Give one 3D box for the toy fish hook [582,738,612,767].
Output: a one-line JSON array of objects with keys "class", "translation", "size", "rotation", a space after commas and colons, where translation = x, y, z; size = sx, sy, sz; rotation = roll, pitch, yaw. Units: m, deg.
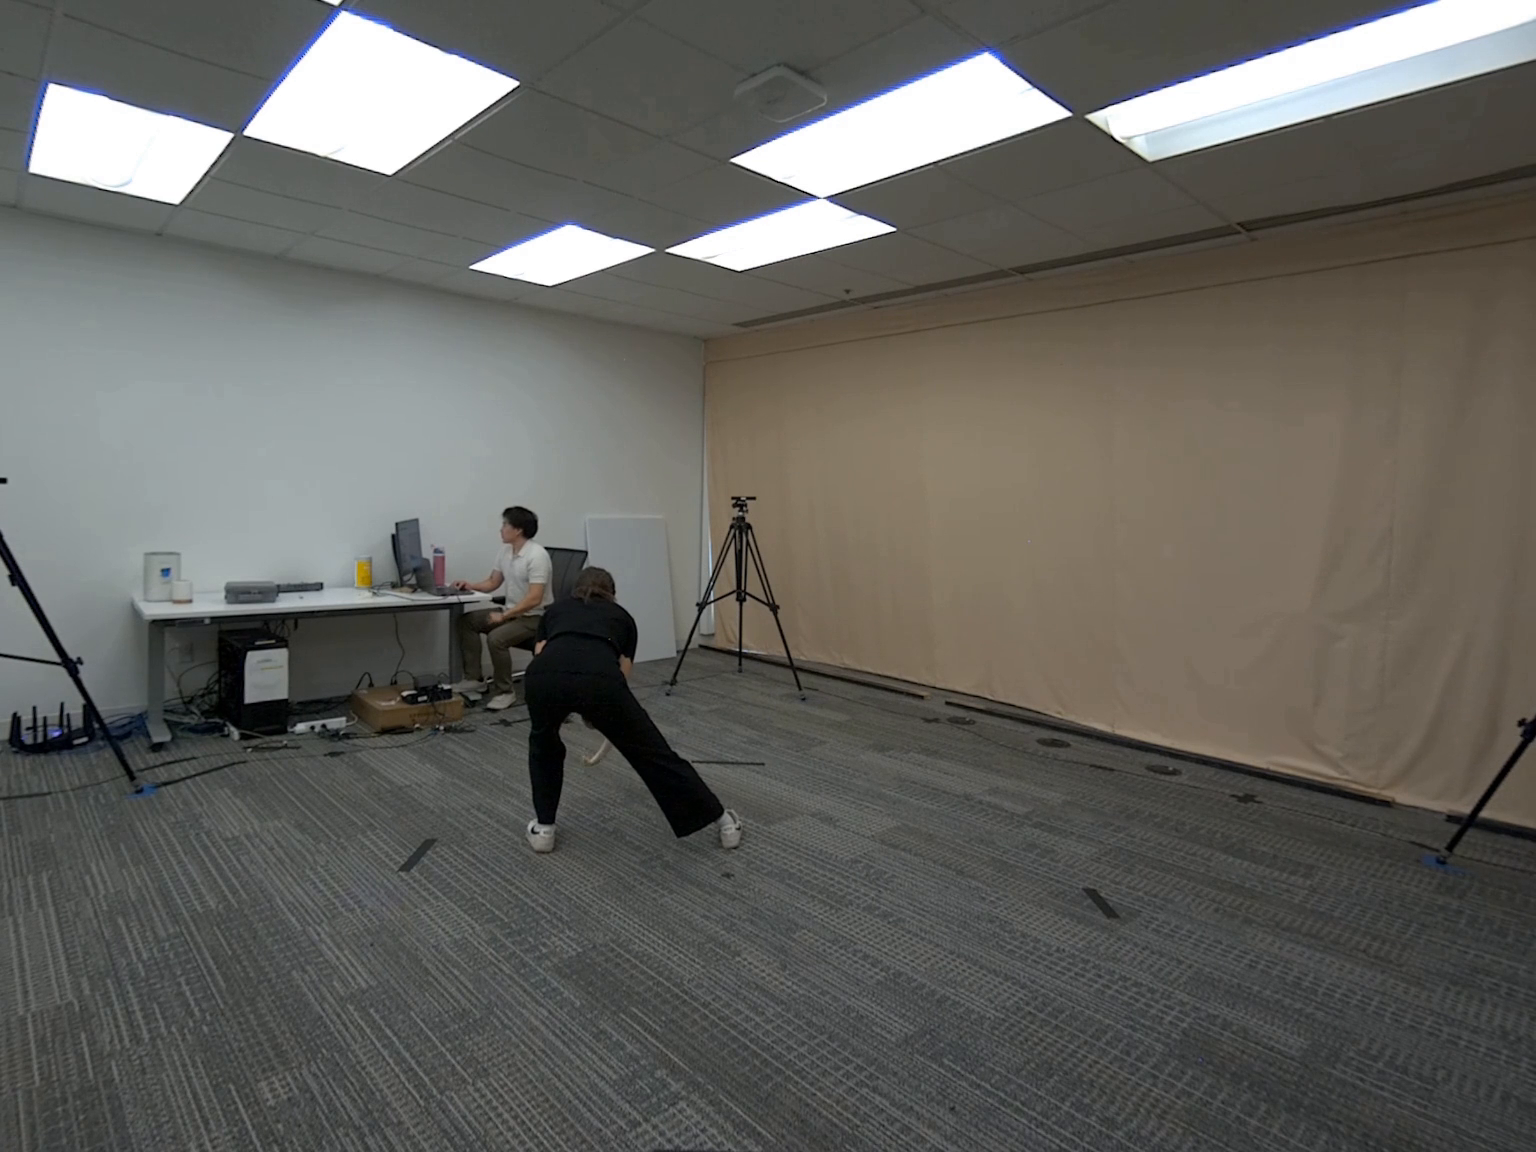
[{"class": "toy fish hook", "translation": [-0.787, 0.710, 3.722], "size": [0.049, 0.225, 0.495], "rotation": [24, -25, 16]}]
